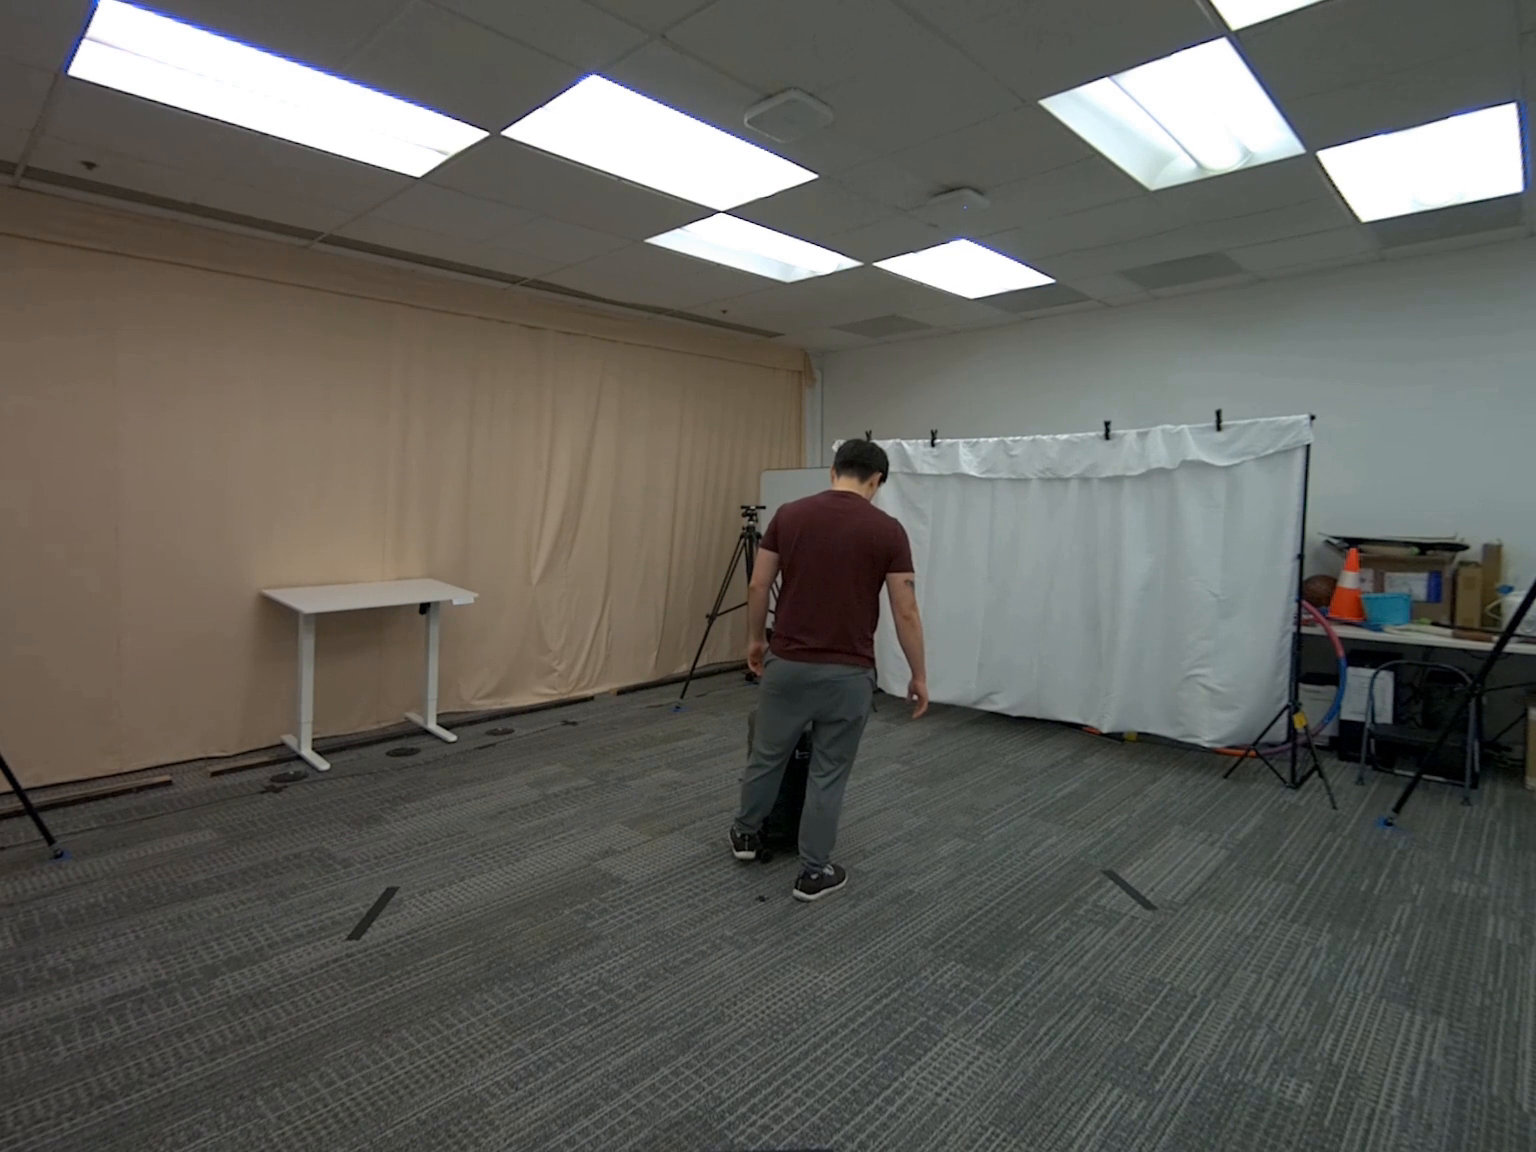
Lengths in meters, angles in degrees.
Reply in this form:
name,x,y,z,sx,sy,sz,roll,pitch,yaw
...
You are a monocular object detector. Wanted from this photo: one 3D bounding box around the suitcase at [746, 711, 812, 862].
name,x,y,z,sx,sy,sz,roll,pitch,yaw
suitcase,0.064,0.625,3.454,0.254,0.978,0.388,-2,1,-11
